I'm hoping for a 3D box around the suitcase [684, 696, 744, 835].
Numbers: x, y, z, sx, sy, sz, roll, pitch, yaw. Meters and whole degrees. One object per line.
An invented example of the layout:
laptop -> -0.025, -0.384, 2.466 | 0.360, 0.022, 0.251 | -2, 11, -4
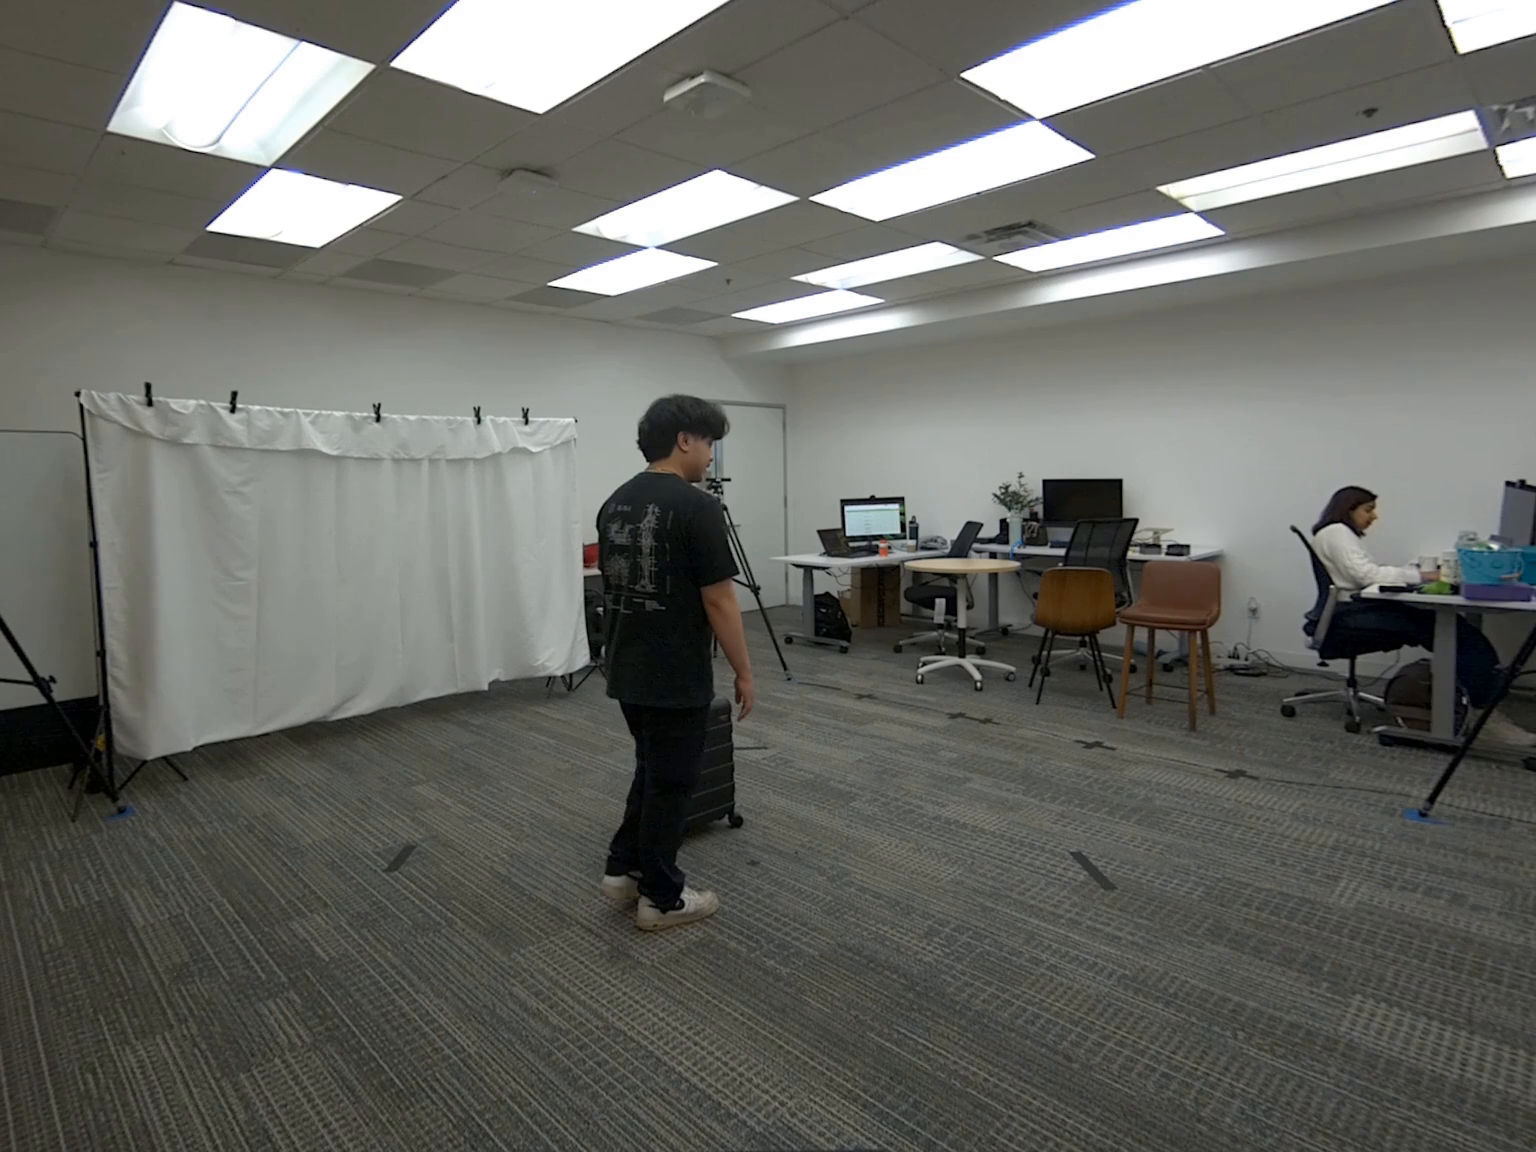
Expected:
suitcase -> -0.324, 0.739, 3.398 | 0.366, 0.547, 0.256 | -6, 6, -41
